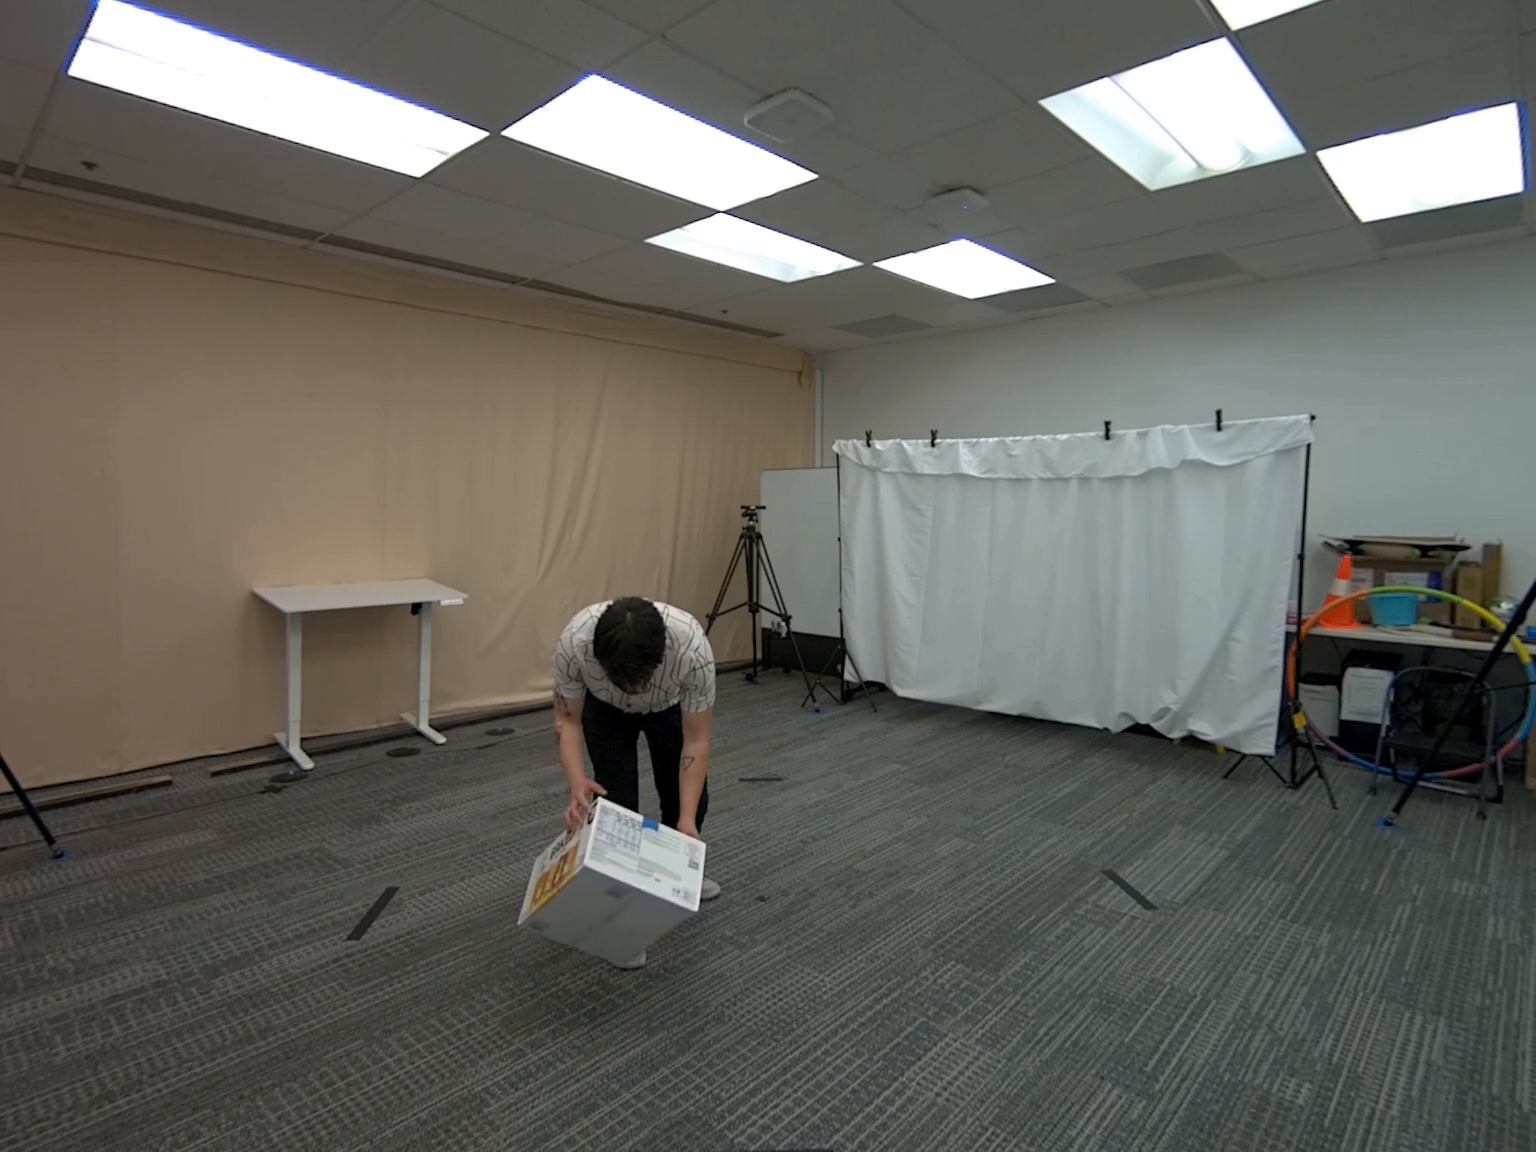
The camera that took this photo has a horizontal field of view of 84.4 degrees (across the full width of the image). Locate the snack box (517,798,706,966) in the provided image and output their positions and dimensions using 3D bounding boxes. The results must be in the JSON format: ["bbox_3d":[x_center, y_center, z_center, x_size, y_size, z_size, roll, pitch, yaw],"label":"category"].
[{"bbox_3d":[-0.425,0.850,2.321,0.333,0.408,0.209,29,36,-18],"label":"snack box"}]
